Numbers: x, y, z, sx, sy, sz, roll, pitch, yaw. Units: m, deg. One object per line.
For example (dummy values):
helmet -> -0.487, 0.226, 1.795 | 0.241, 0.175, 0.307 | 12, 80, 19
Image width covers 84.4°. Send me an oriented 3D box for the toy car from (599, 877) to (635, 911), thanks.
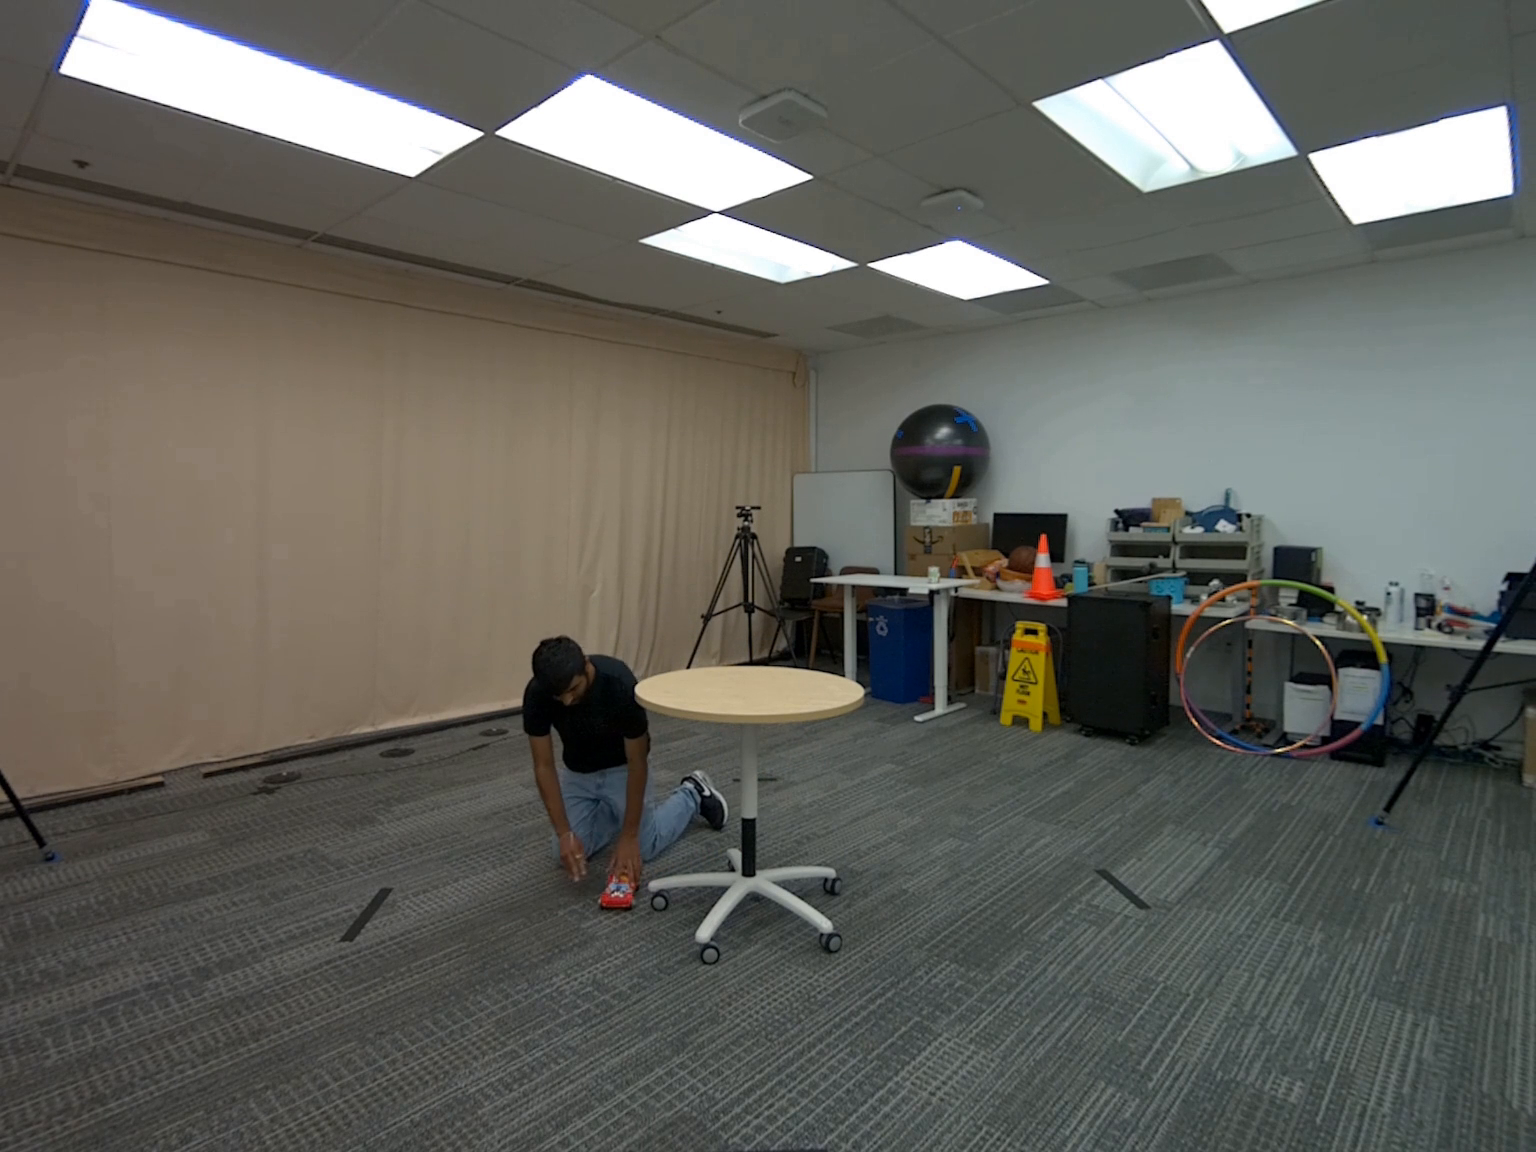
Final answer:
toy car -> -0.528, 1.110, 3.003 | 0.131, 0.082, 0.256 | -2, 17, 2
